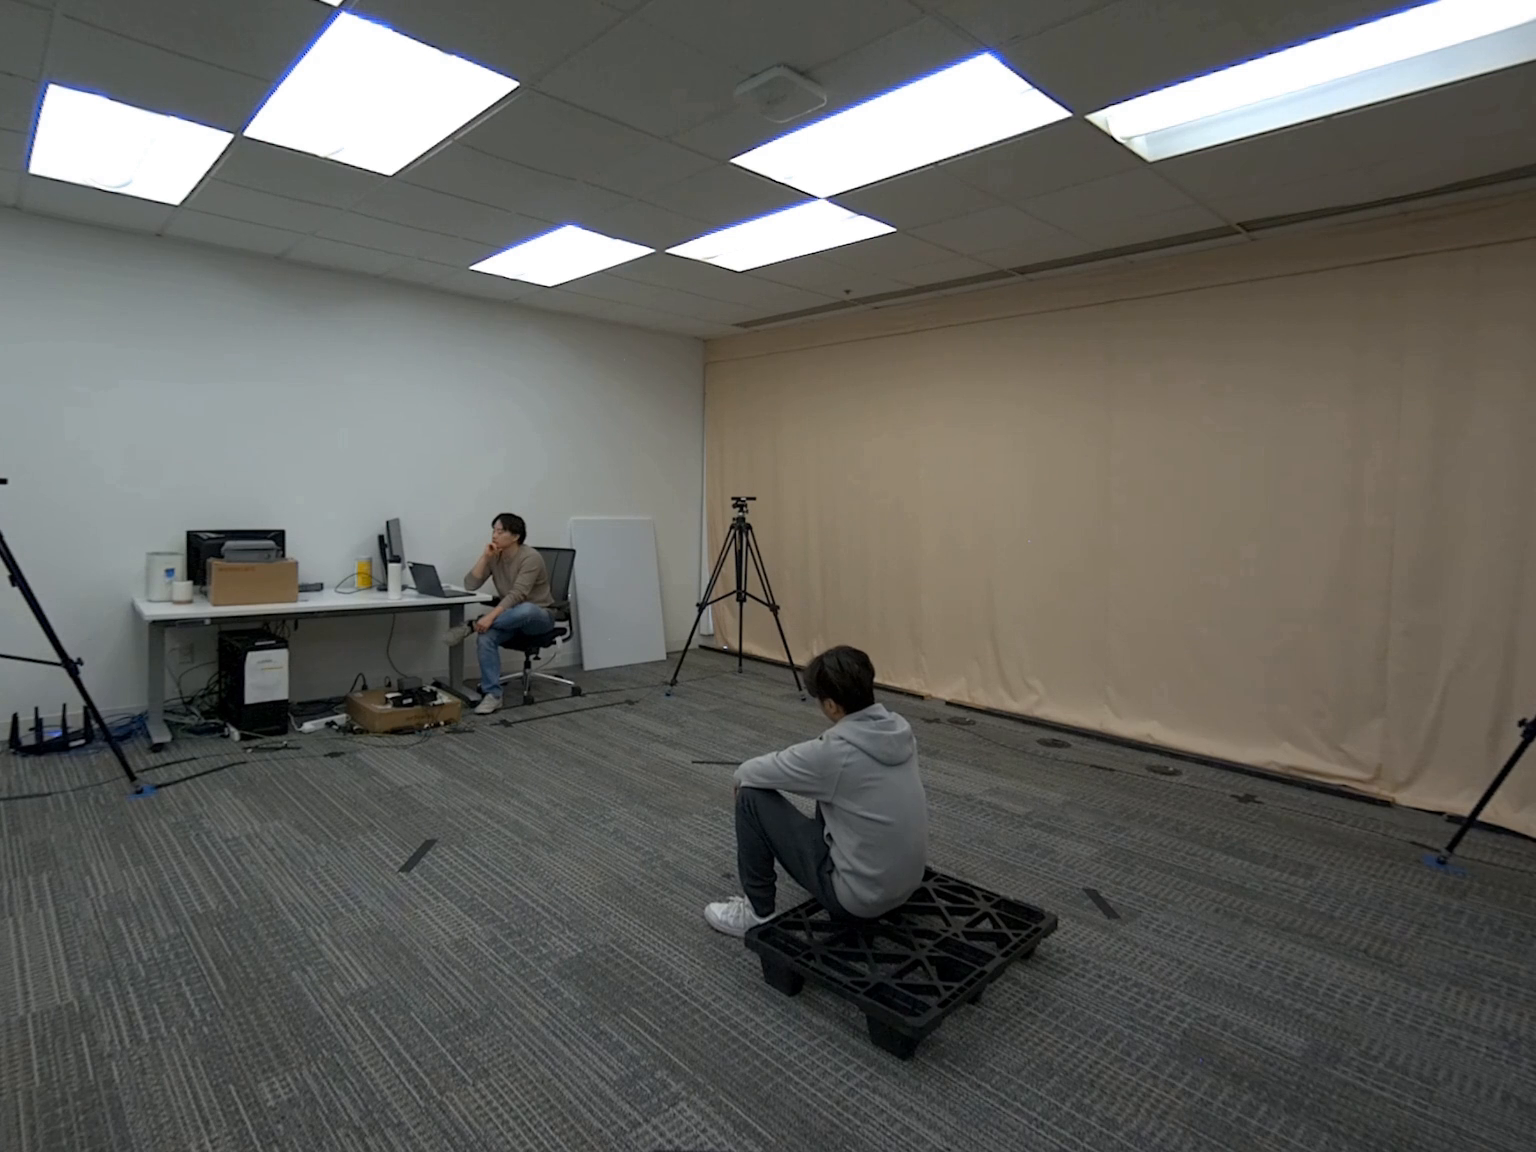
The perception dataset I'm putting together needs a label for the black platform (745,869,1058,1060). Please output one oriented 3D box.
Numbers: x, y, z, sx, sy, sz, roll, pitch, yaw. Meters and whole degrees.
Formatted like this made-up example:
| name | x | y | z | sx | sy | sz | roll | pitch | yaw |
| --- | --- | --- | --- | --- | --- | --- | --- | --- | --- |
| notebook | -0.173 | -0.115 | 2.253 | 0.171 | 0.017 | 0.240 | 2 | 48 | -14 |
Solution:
| name | x | y | z | sx | sy | sz | roll | pitch | yaw |
| --- | --- | --- | --- | --- | --- | --- | --- | --- | --- |
| black platform | 0.395 | 1.107 | 2.520 | 0.620 | 0.143 | 0.787 | 6 | 7 | 43 |
